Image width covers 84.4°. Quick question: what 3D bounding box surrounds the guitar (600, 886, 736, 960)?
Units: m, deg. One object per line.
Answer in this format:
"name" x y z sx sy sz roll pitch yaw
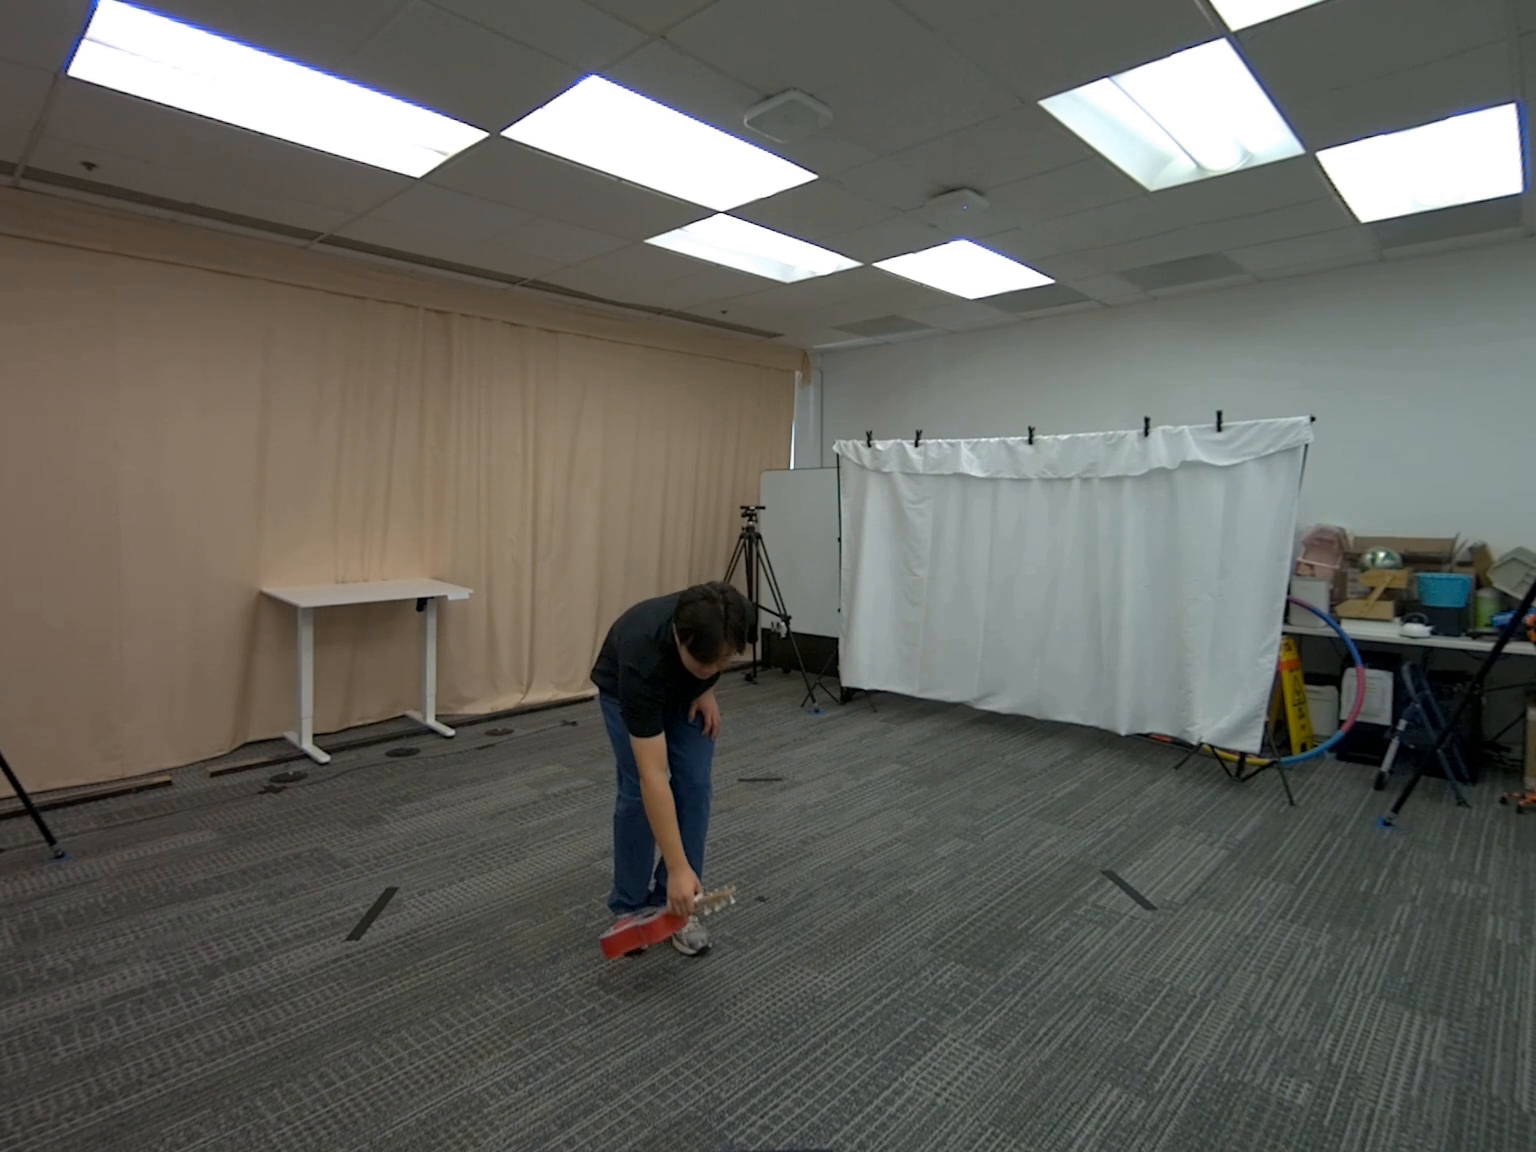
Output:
"guitar" -0.295 0.954 2.332 0.188 0.071 0.506 -16 -13 -46
